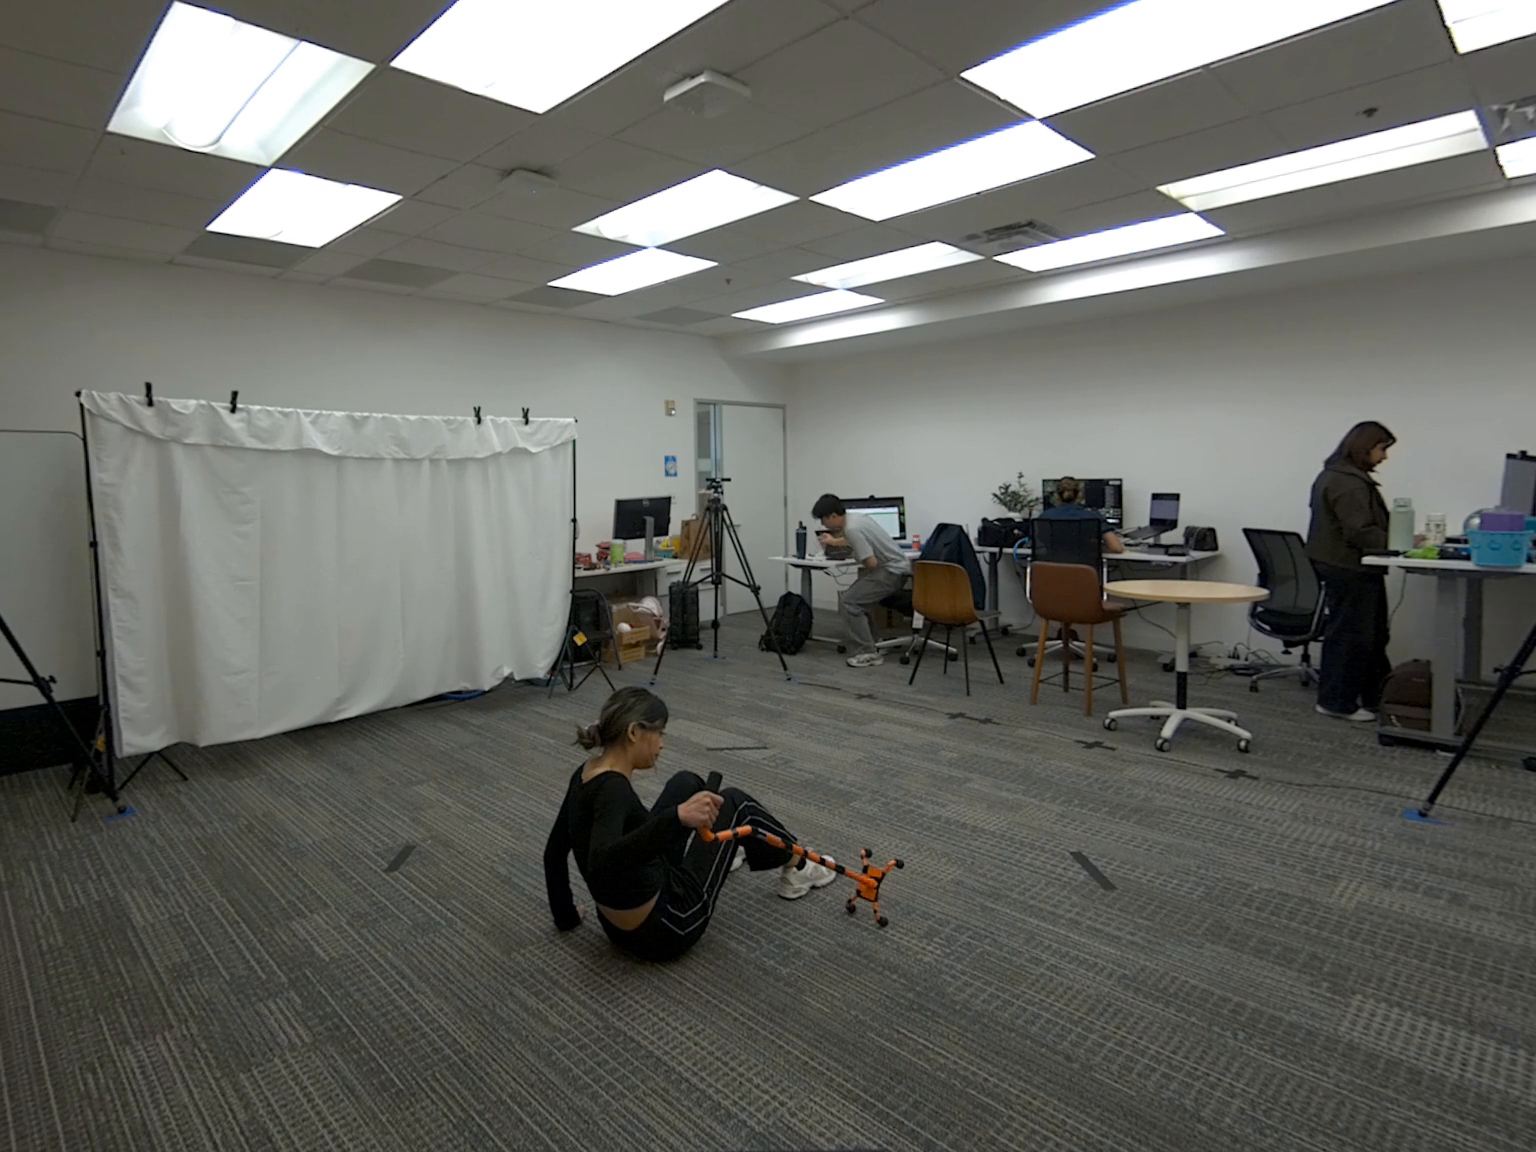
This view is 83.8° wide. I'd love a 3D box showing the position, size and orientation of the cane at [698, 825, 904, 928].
[{"bbox_3d":[0.089,0.781,2.439,0.156,0.208,0.873,4,-25,44],"label":"cane"}]
